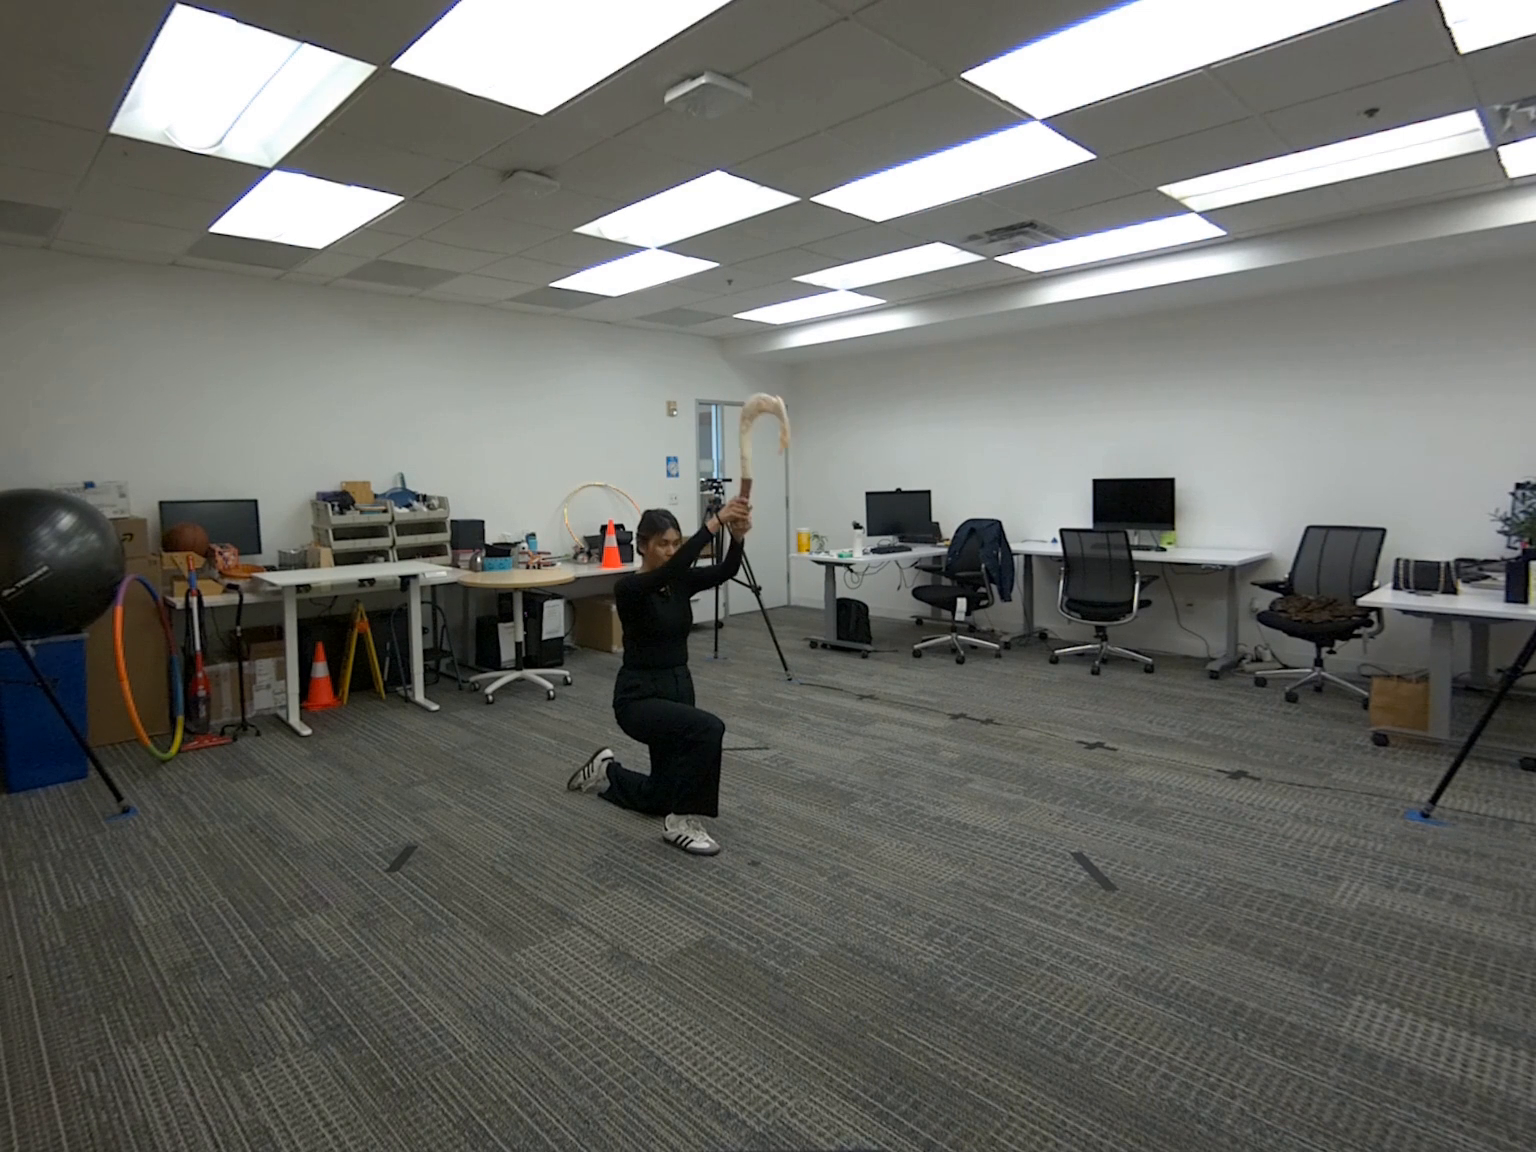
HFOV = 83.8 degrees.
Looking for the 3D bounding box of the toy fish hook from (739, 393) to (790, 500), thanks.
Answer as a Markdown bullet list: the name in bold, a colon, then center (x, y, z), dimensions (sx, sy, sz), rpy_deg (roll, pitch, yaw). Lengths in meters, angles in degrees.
- **toy fish hook**: center (-0.050, -0.364, 3.097), dimensions (0.233, 0.501, 0.047), rpy_deg (22, 18, 39)
